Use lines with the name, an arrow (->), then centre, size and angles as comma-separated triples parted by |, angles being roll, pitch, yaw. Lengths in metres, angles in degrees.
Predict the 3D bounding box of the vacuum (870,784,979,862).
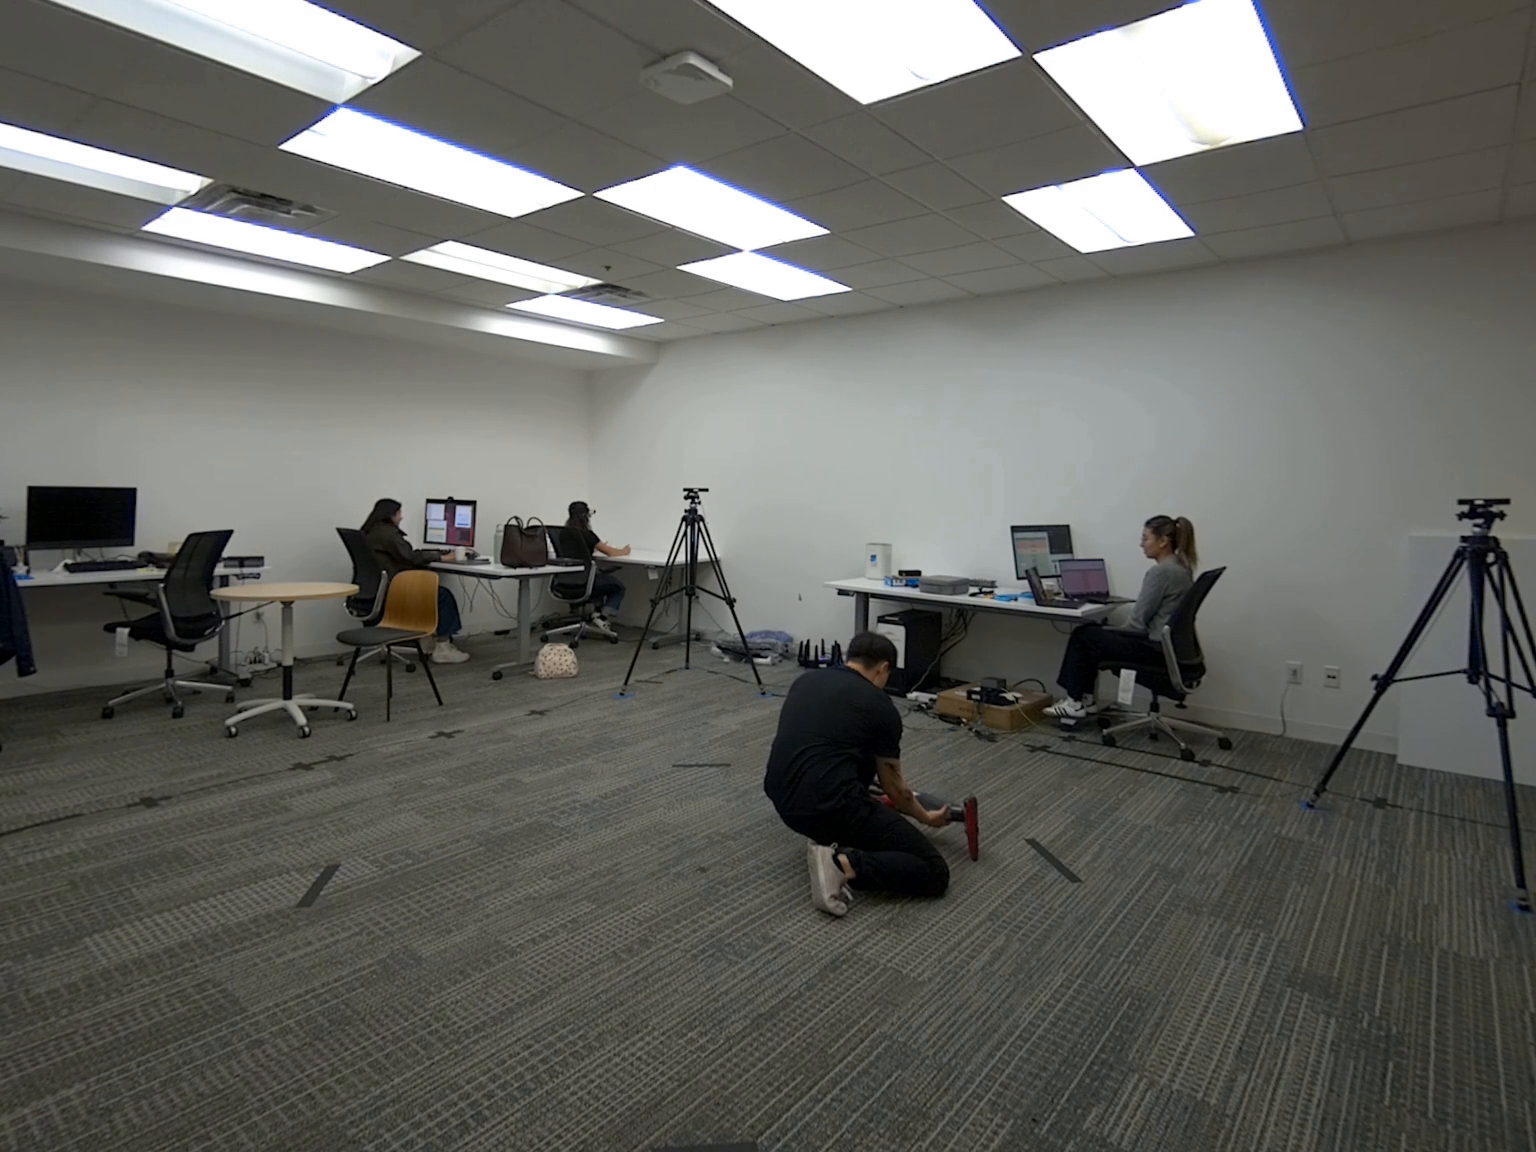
vacuum -> 0.394, 0.916, 3.638 | 1.085, 0.251, 0.140 | 5, 9, 43
